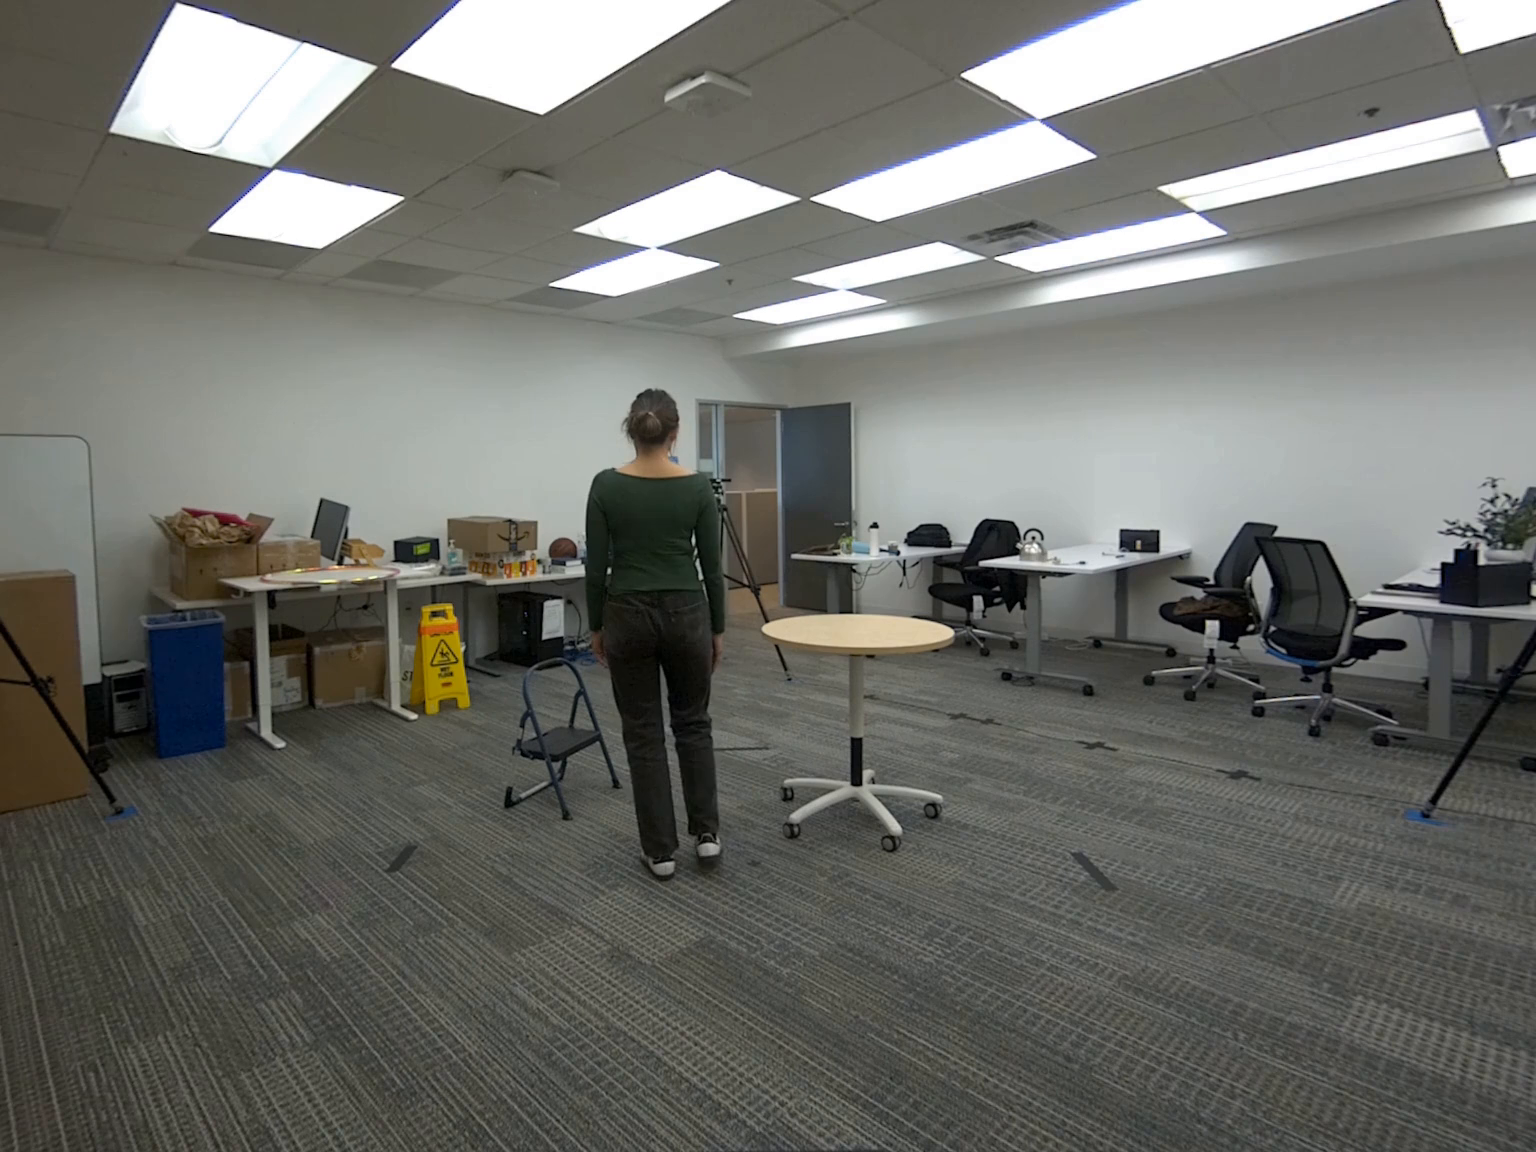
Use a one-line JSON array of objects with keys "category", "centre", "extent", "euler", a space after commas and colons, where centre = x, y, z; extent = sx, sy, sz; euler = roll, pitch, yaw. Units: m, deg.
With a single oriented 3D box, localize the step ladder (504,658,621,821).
[{"category": "step ladder", "centre": [-0.916, 0.685, 3.785], "extent": [0.357, 0.604, 0.423], "euler": [0, 5, 23]}]
